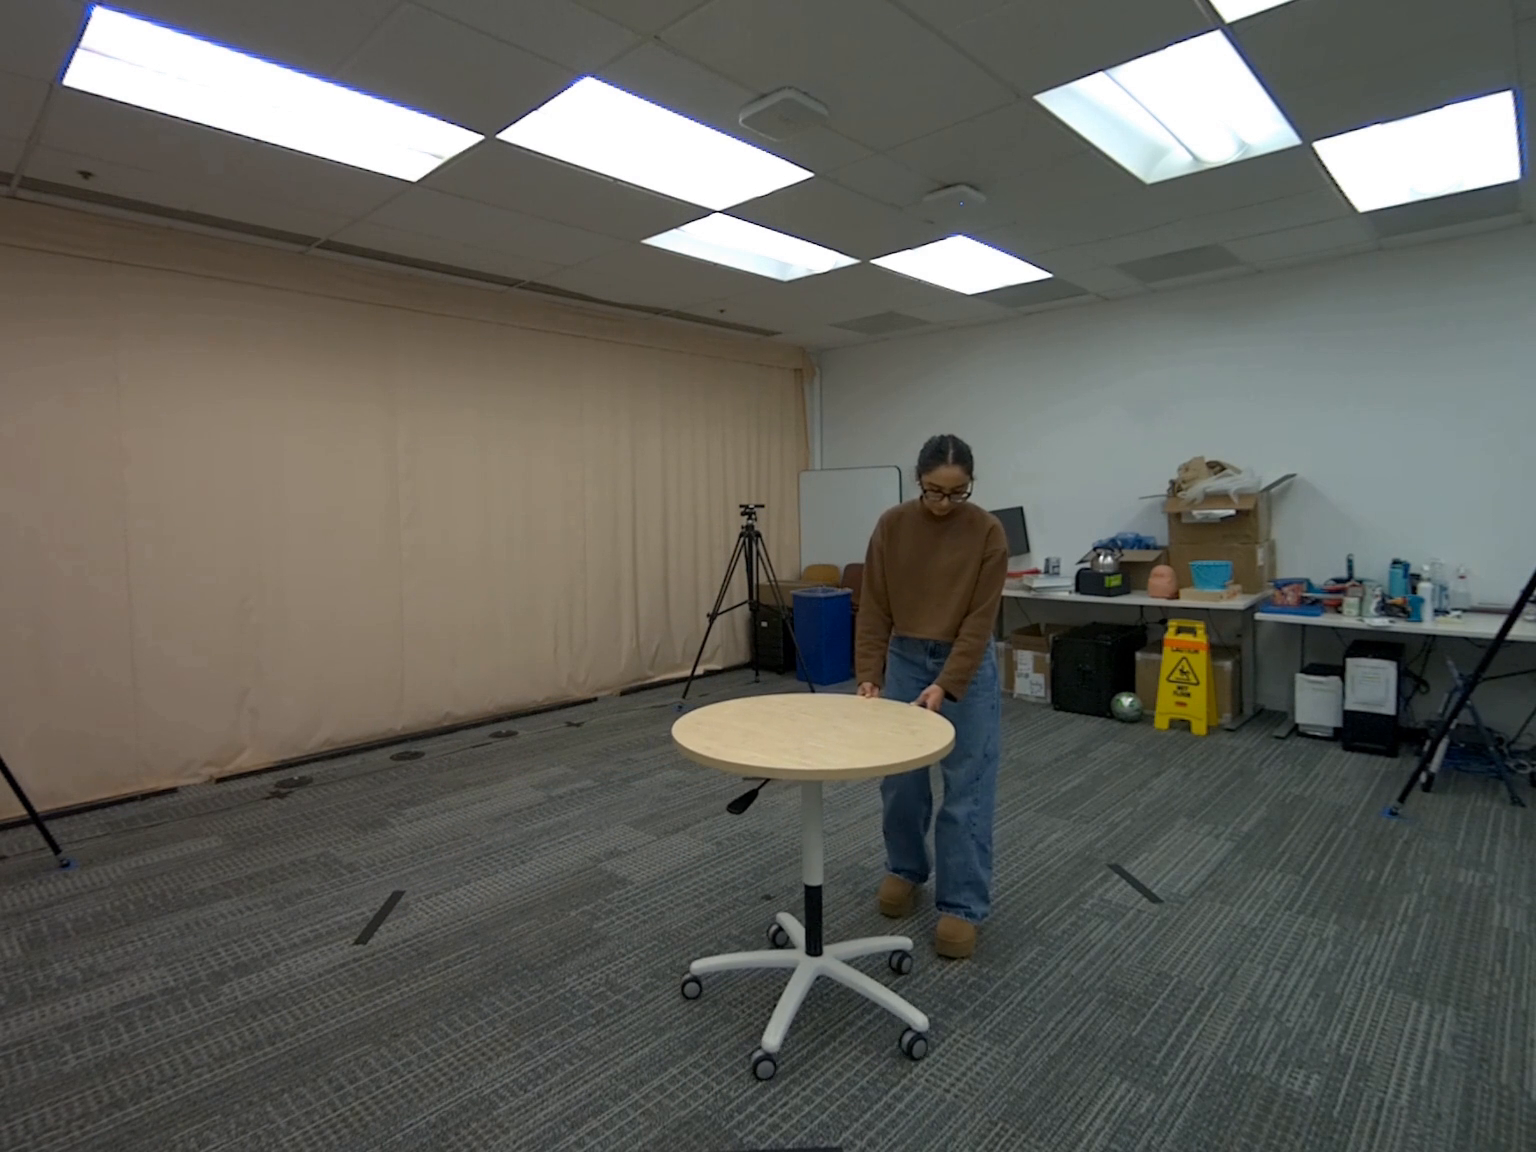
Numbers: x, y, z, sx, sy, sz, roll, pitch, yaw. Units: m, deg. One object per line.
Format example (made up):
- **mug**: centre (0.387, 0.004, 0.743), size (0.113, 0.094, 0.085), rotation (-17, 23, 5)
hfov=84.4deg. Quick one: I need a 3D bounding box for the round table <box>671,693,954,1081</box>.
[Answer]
- **round table**: centre (0.126, 0.806, 2.337), size (0.763, 0.792, 0.767), rotation (-1, 4, -2)
